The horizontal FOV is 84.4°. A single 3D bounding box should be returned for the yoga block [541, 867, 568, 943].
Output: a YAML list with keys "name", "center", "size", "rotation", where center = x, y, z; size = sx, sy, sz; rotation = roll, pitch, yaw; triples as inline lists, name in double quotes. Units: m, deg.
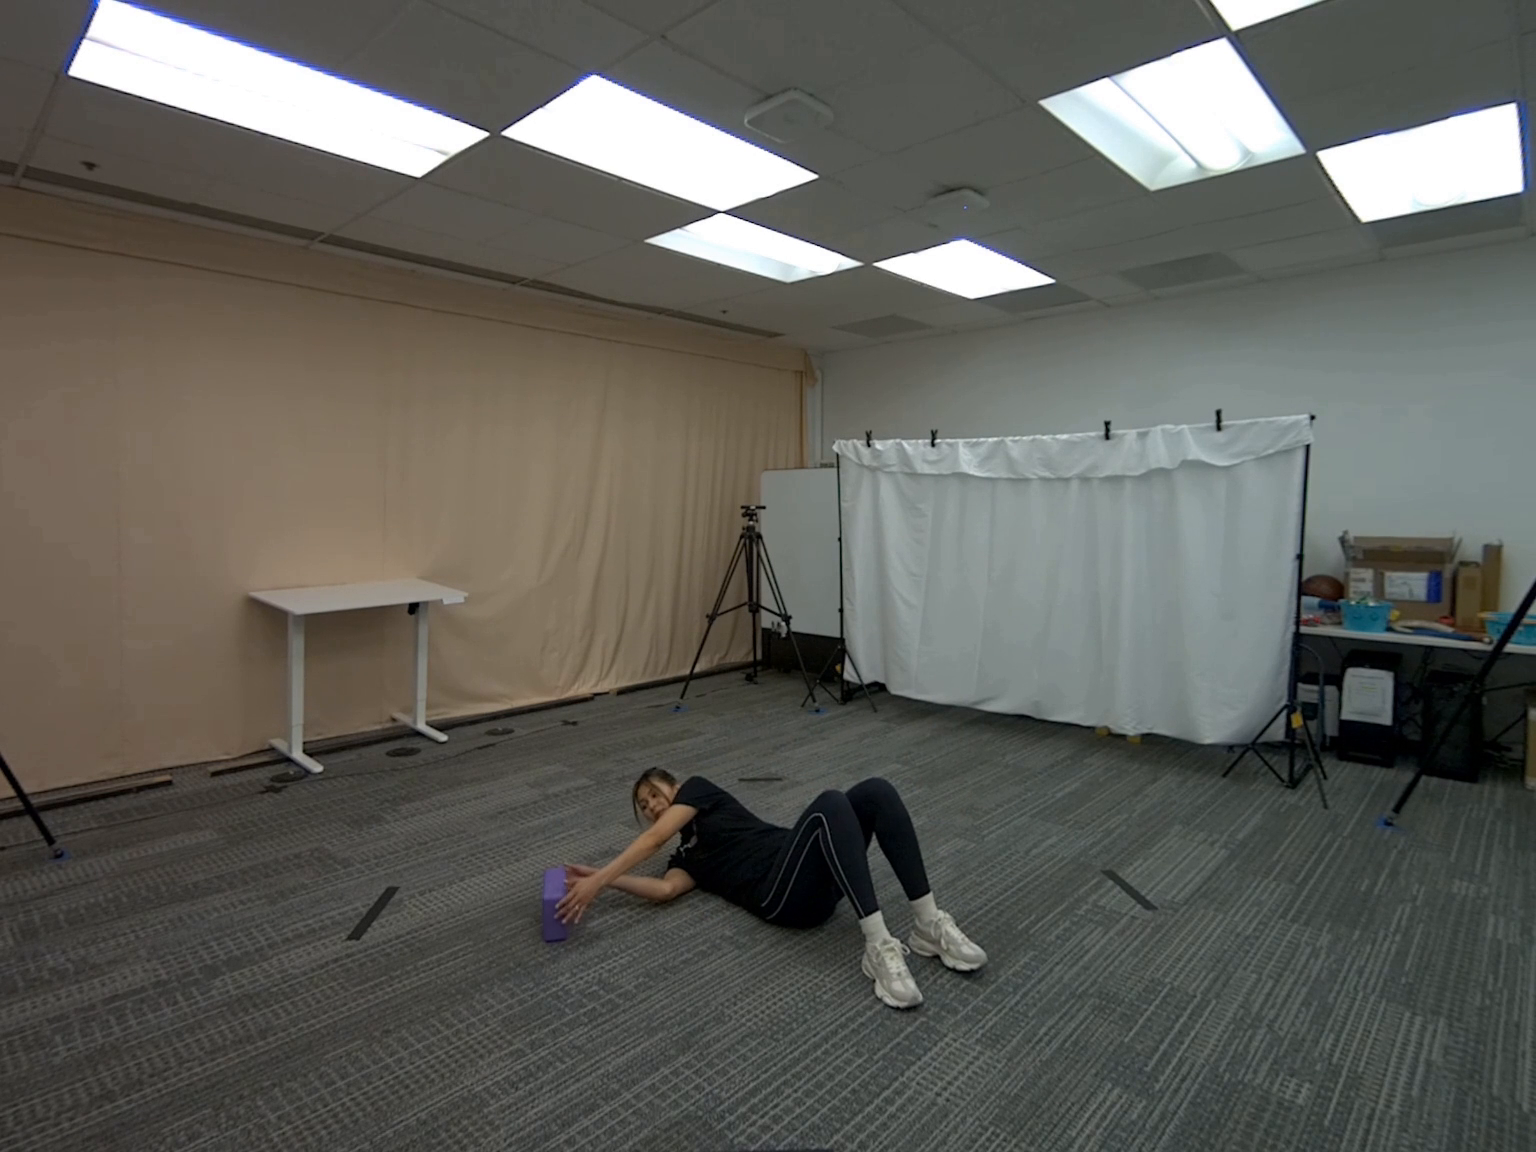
- name: "yoga block"
  center: [-0.715, 1.090, 2.805]
  size: [0.075, 0.149, 0.233]
  rotation: [-3, 4, -14]
